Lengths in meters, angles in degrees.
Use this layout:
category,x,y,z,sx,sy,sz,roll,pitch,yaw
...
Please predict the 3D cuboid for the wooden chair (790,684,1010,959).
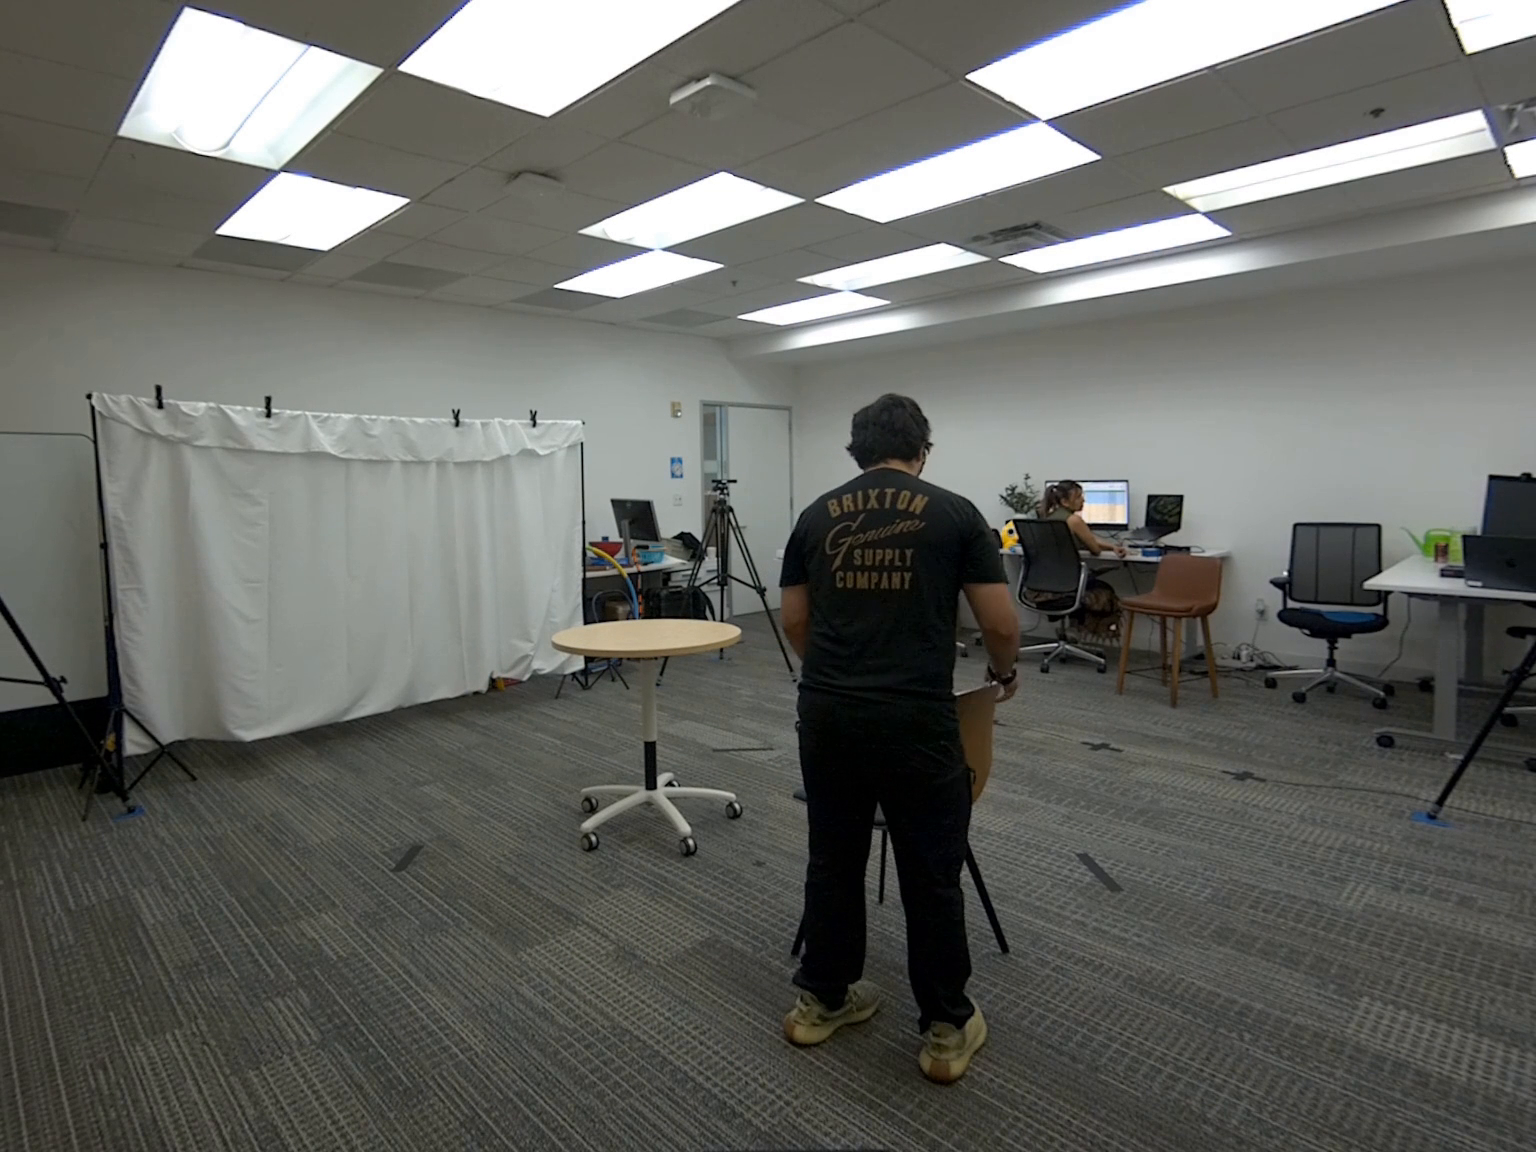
category,x,y,z,sx,sy,sz,roll,pitch,yaw
wooden chair,0.384,0.684,2.484,0.540,0.871,0.465,9,11,43
